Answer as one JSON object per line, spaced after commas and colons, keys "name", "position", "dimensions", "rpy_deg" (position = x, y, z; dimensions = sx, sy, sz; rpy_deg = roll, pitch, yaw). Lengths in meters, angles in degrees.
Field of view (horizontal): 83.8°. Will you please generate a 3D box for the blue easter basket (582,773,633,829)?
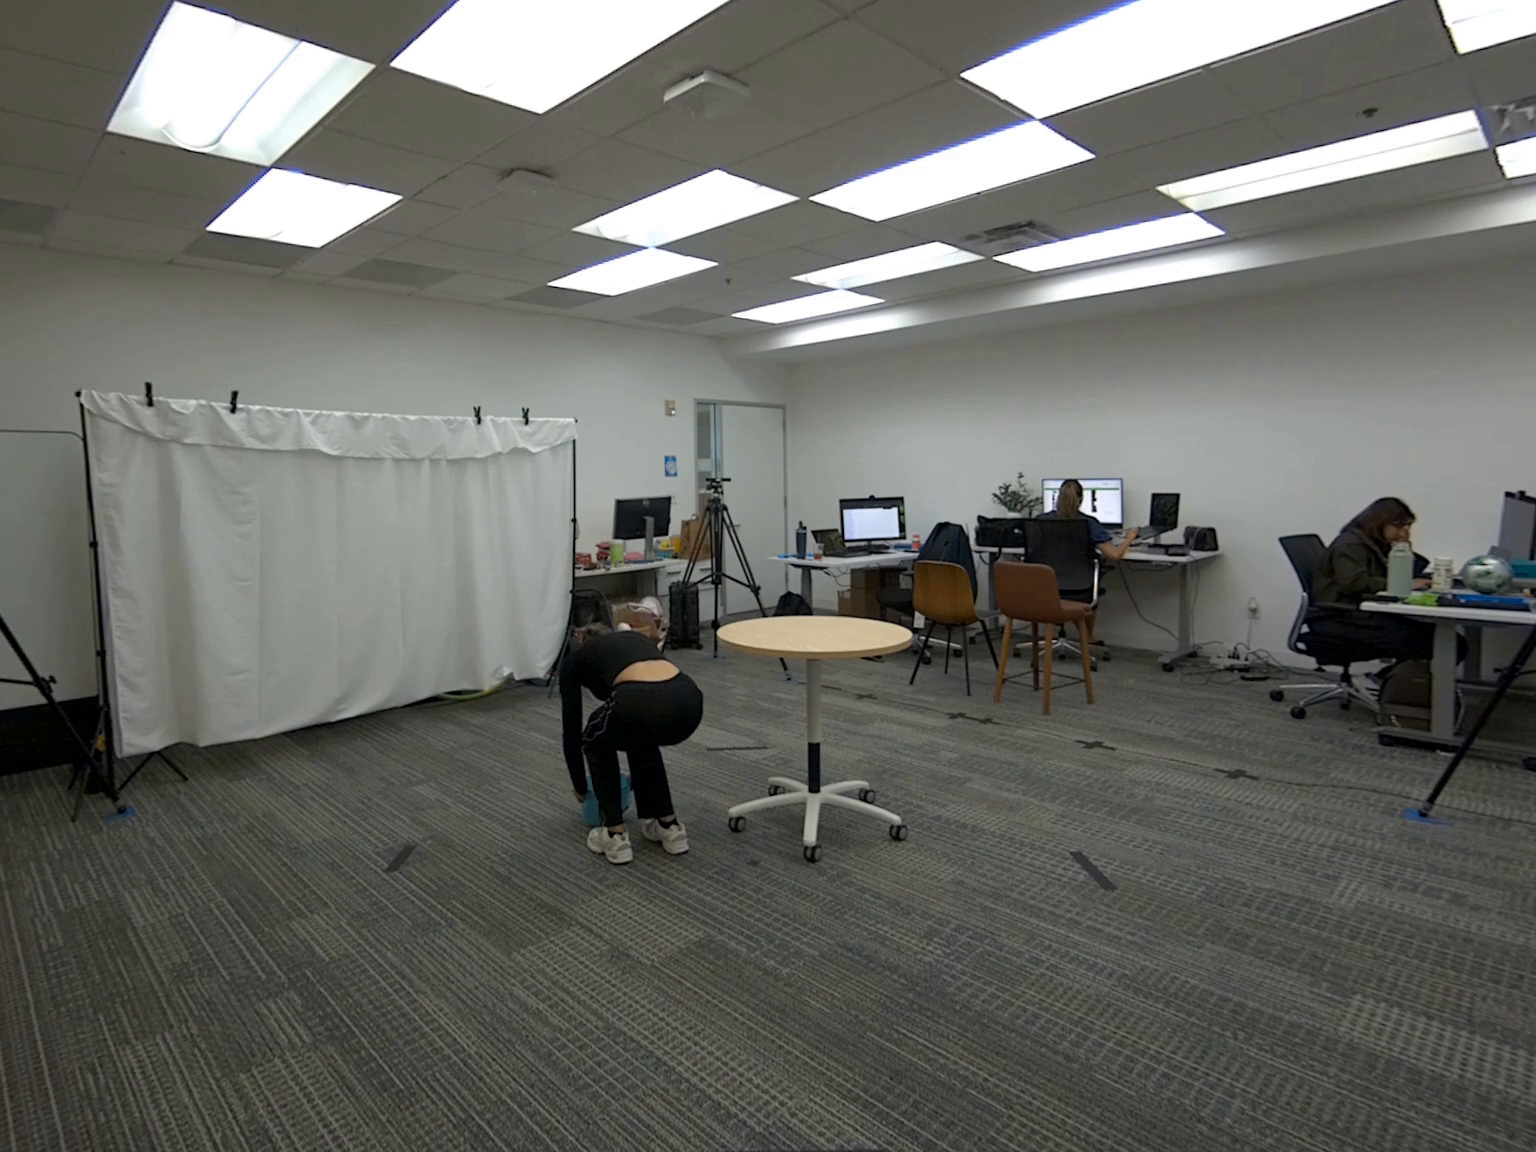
{"name": "blue easter basket", "position": [-0.675, 0.928, 3.545], "dimensions": [0.243, 0.155, 0.245], "rpy_deg": [0, 6, -2]}
